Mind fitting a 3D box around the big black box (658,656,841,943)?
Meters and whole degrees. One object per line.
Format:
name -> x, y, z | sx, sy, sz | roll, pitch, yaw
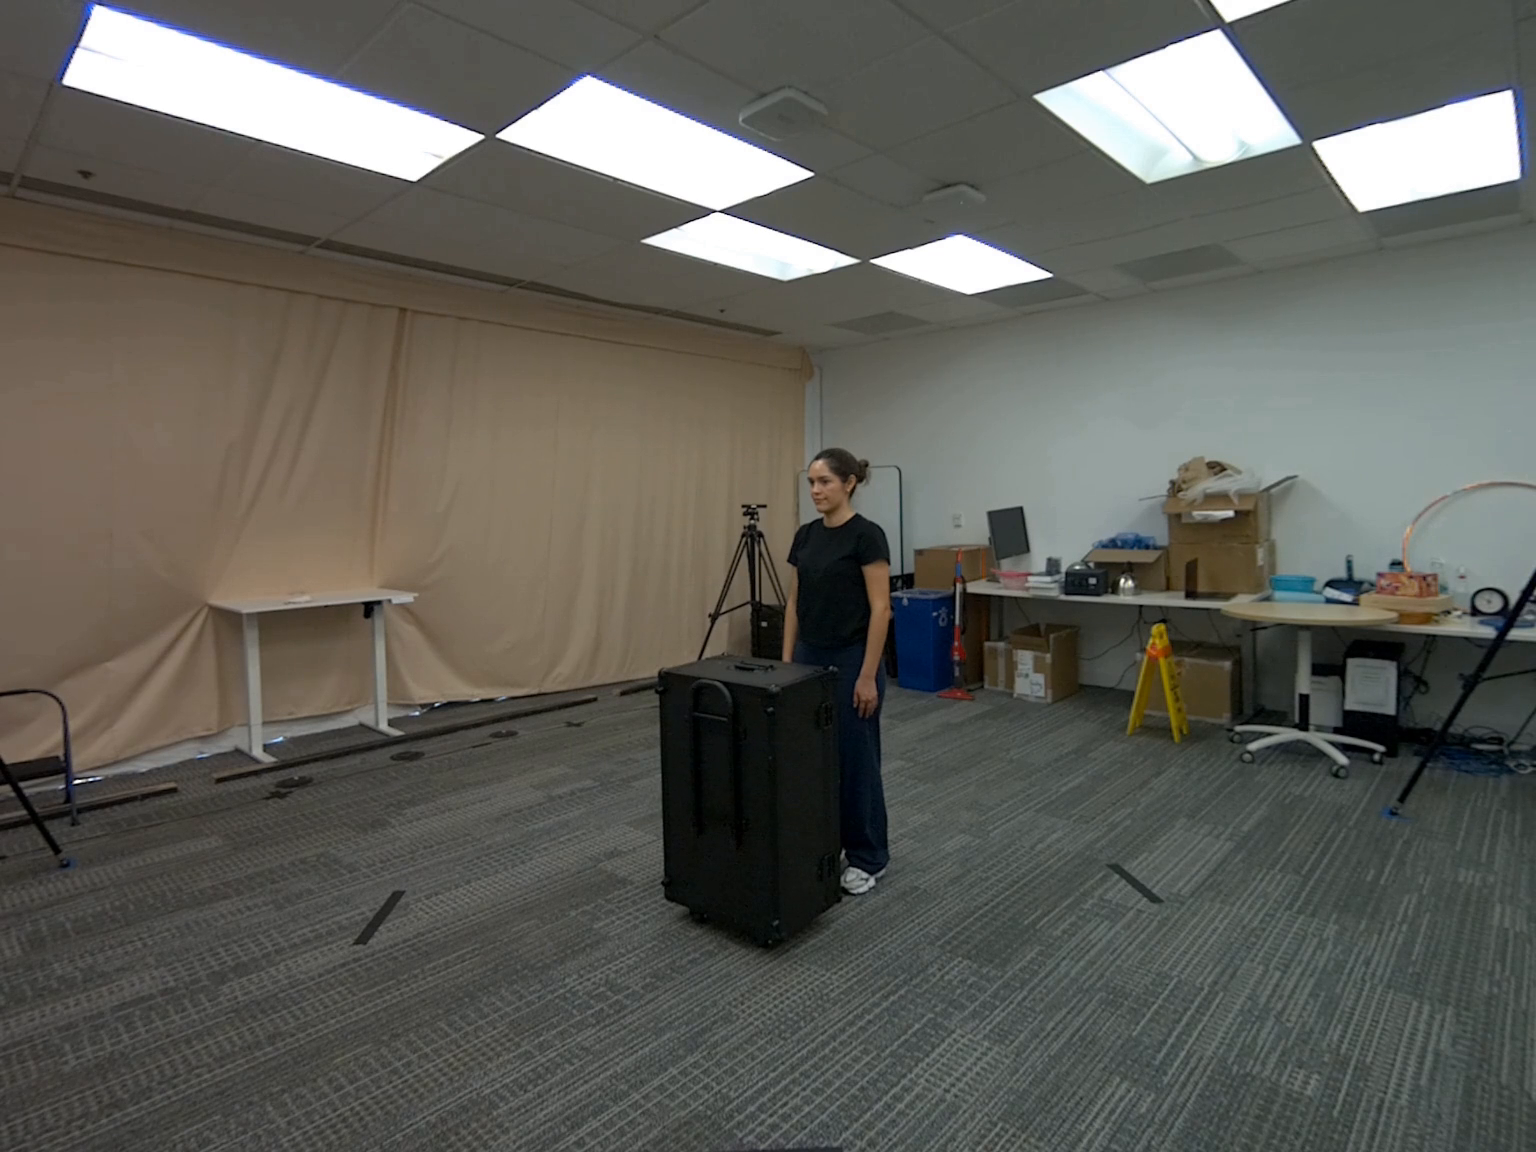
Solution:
big black box -> -0.052, 0.736, 2.784 | 0.538, 0.859, 0.385 | 2, 6, 39
